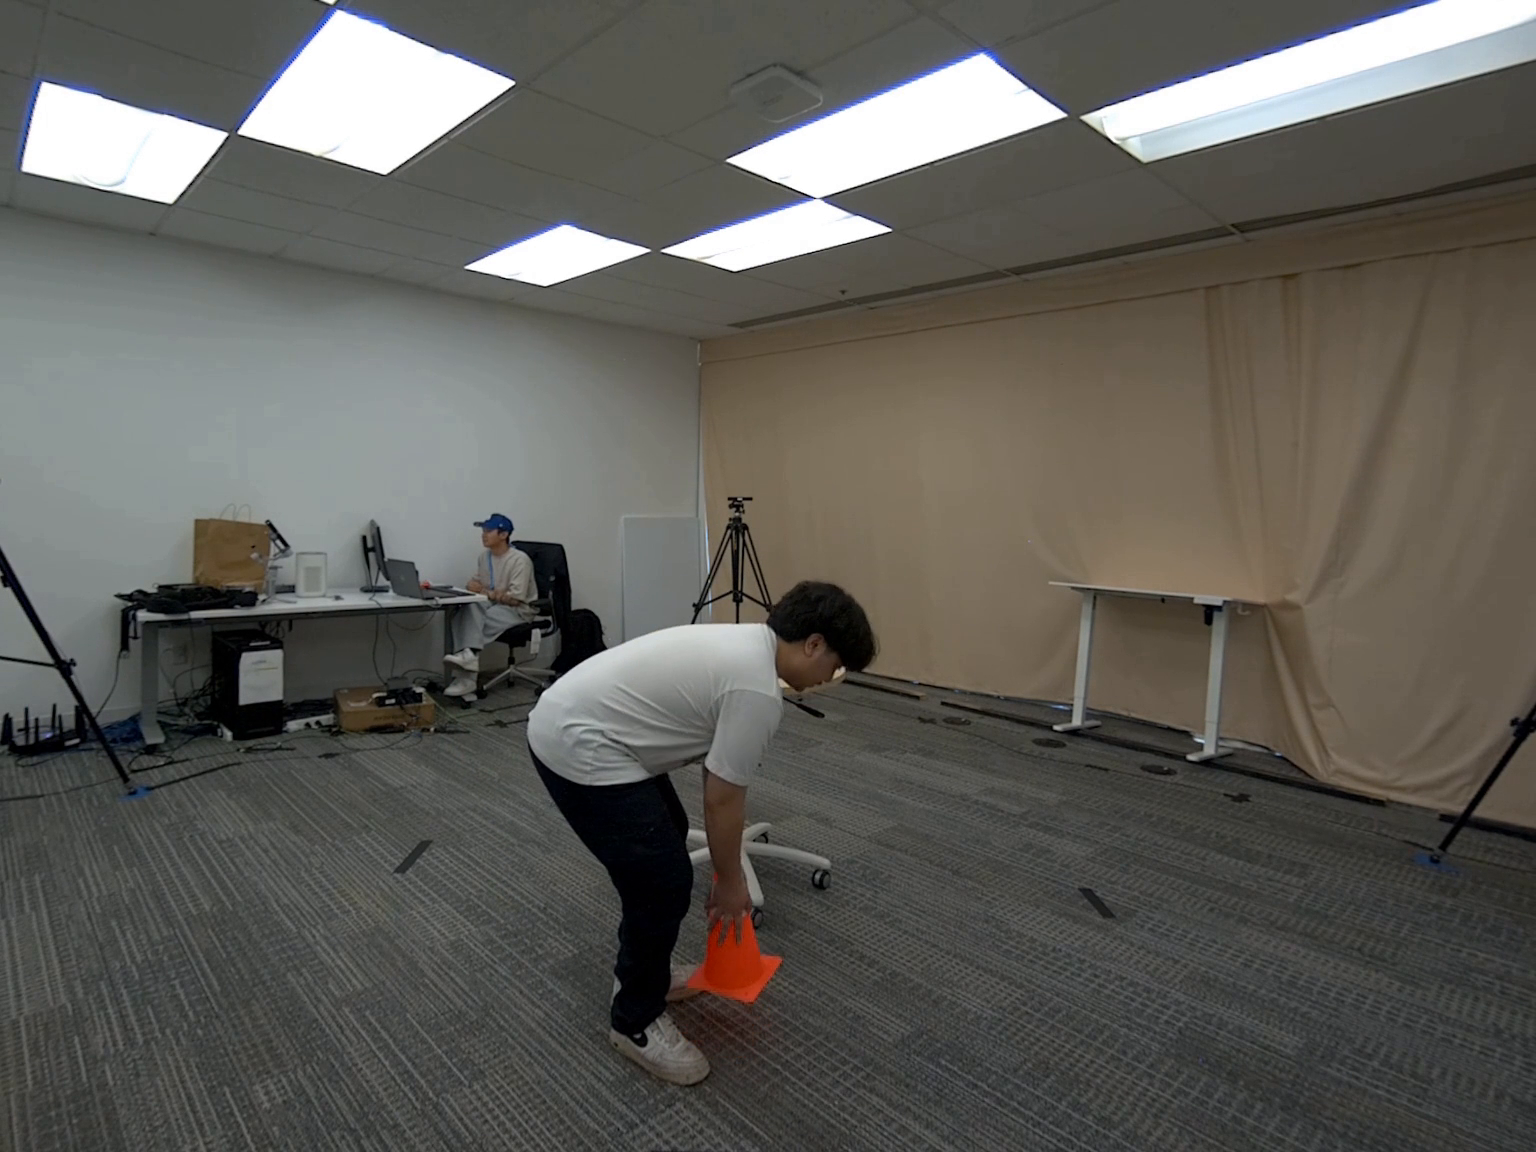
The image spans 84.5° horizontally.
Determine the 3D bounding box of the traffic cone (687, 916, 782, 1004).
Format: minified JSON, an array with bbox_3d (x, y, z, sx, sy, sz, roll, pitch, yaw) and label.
[{"bbox_3d":[-0.114,0.876,2.179,0.201,0.381,0.208,-11,9,-41],"label":"traffic cone"}]
